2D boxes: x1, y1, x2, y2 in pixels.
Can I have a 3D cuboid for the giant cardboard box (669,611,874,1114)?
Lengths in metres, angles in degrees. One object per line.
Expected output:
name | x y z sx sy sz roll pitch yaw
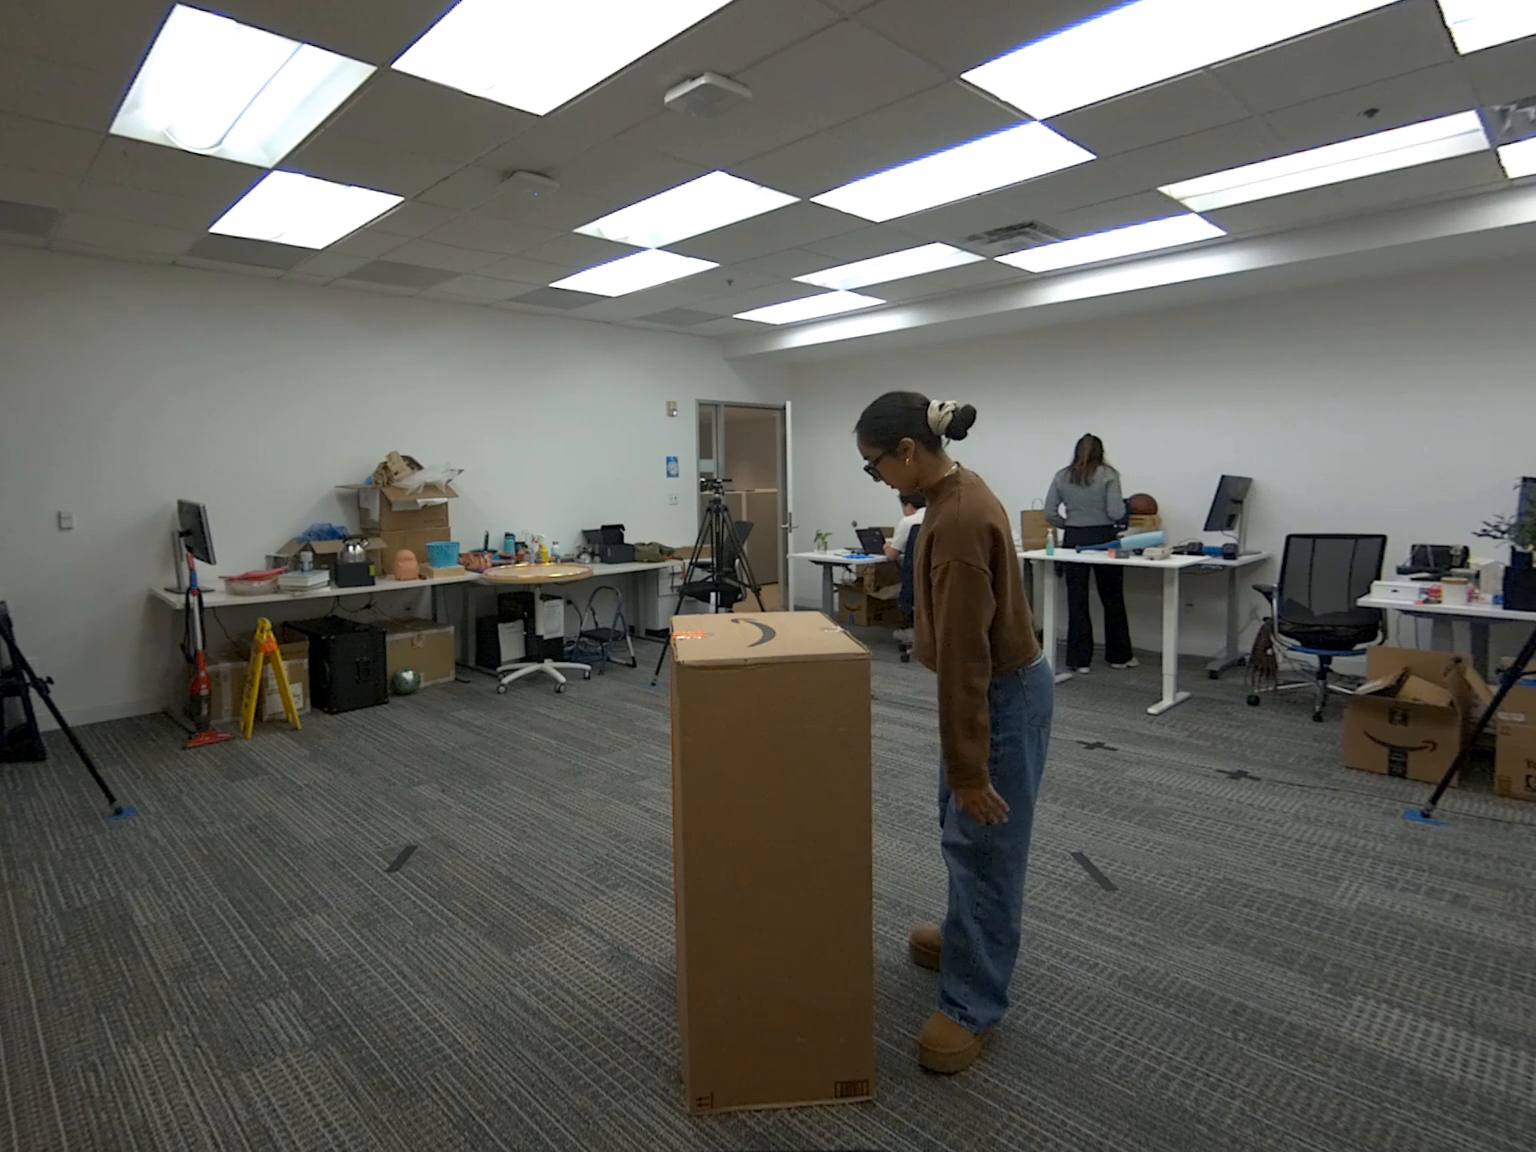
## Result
giant cardboard box | -0.009 0.650 2.140 0.423 1.021 0.584 -2 6 -7
